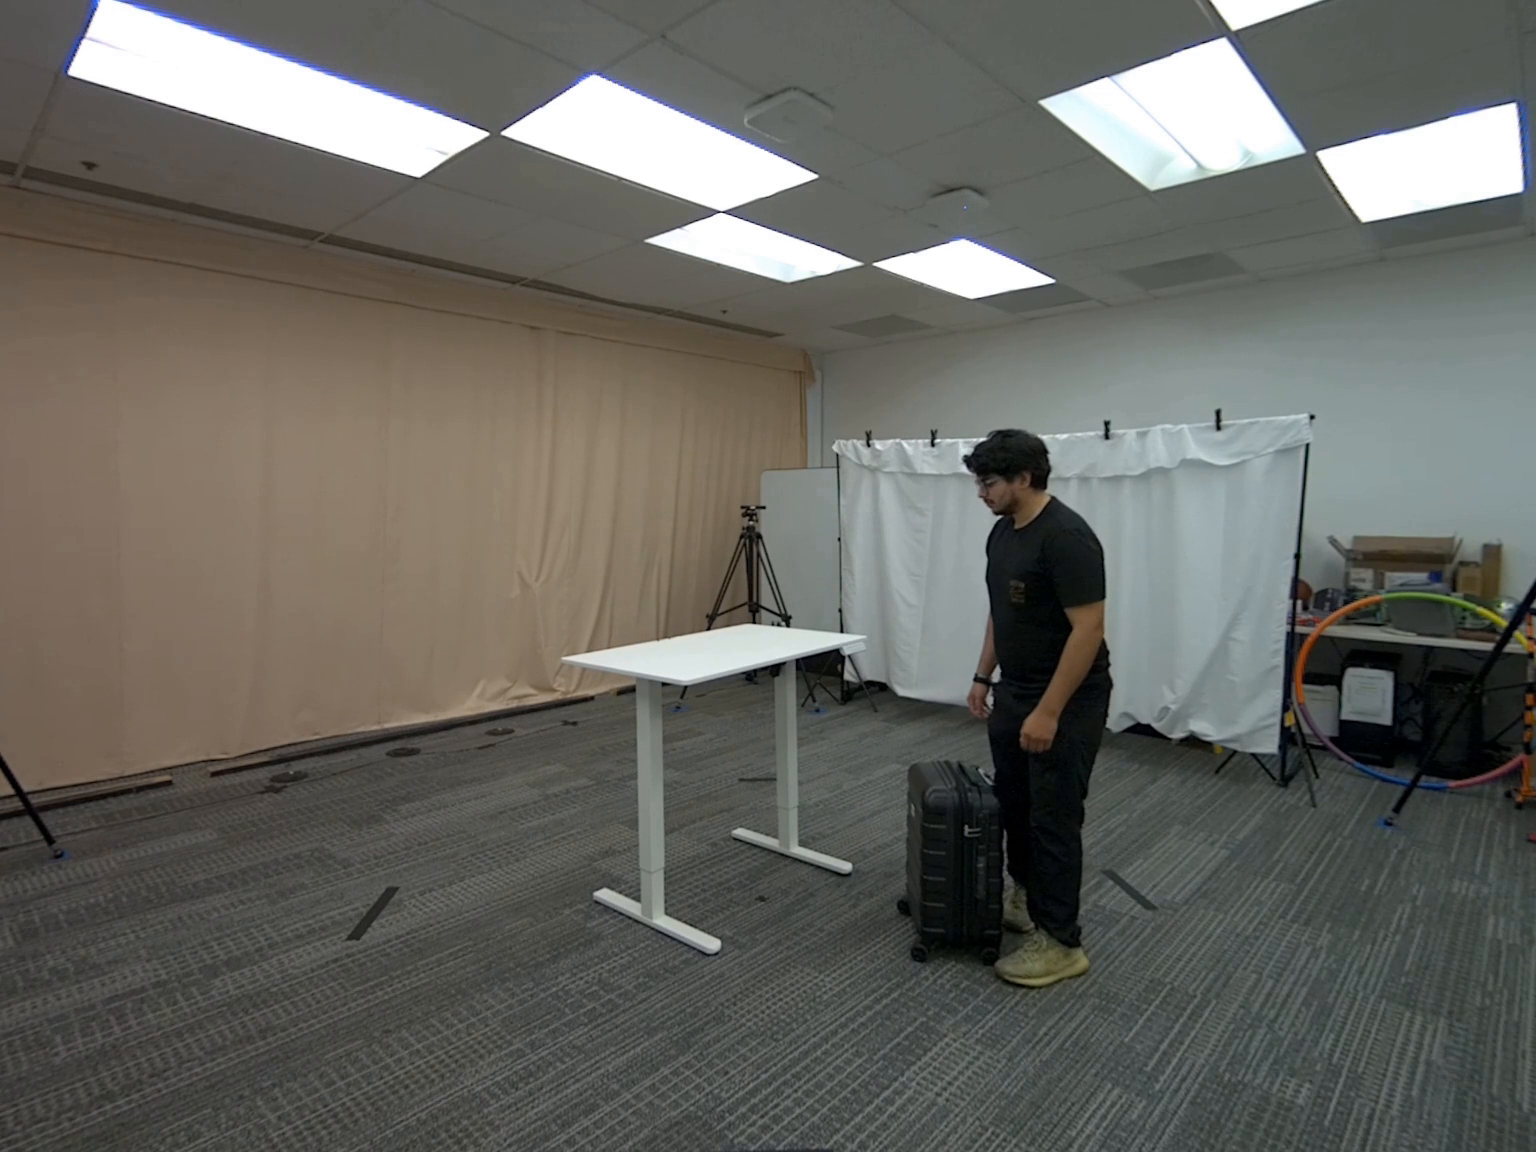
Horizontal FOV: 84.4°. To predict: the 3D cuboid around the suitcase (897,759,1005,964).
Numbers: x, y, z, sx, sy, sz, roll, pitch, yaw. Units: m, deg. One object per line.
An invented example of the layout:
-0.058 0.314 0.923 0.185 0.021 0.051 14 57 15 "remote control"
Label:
0.592 0.891 2.693 0.249 0.548 0.375 1 4 2 "suitcase"
